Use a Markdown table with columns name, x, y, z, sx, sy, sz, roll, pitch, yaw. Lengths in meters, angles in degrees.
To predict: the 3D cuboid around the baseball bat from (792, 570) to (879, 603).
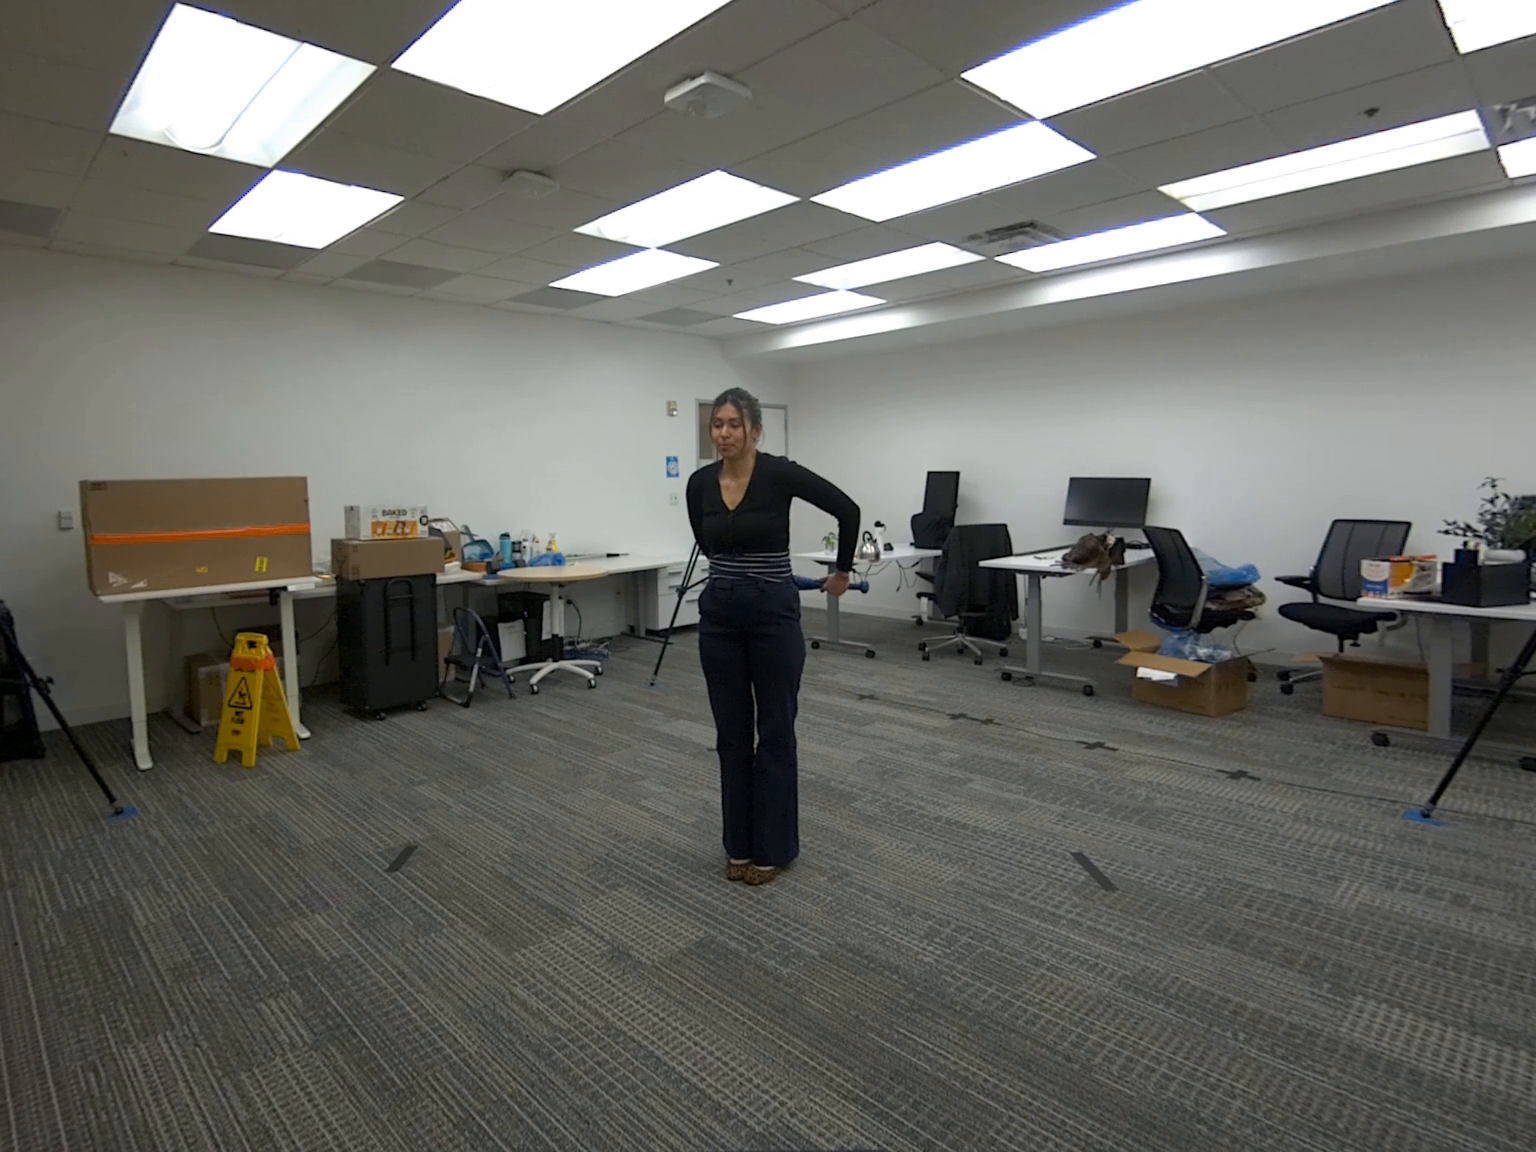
| name | x | y | z | sx | sy | sz | roll | pitch | yaw |
| --- | --- | --- | --- | --- | --- | --- | --- | --- | --- |
| baseball bat | 0.141 | 0.030 | 3.228 | 0.557 | 0.089 | 0.087 | 3 | 6 | 30 |
